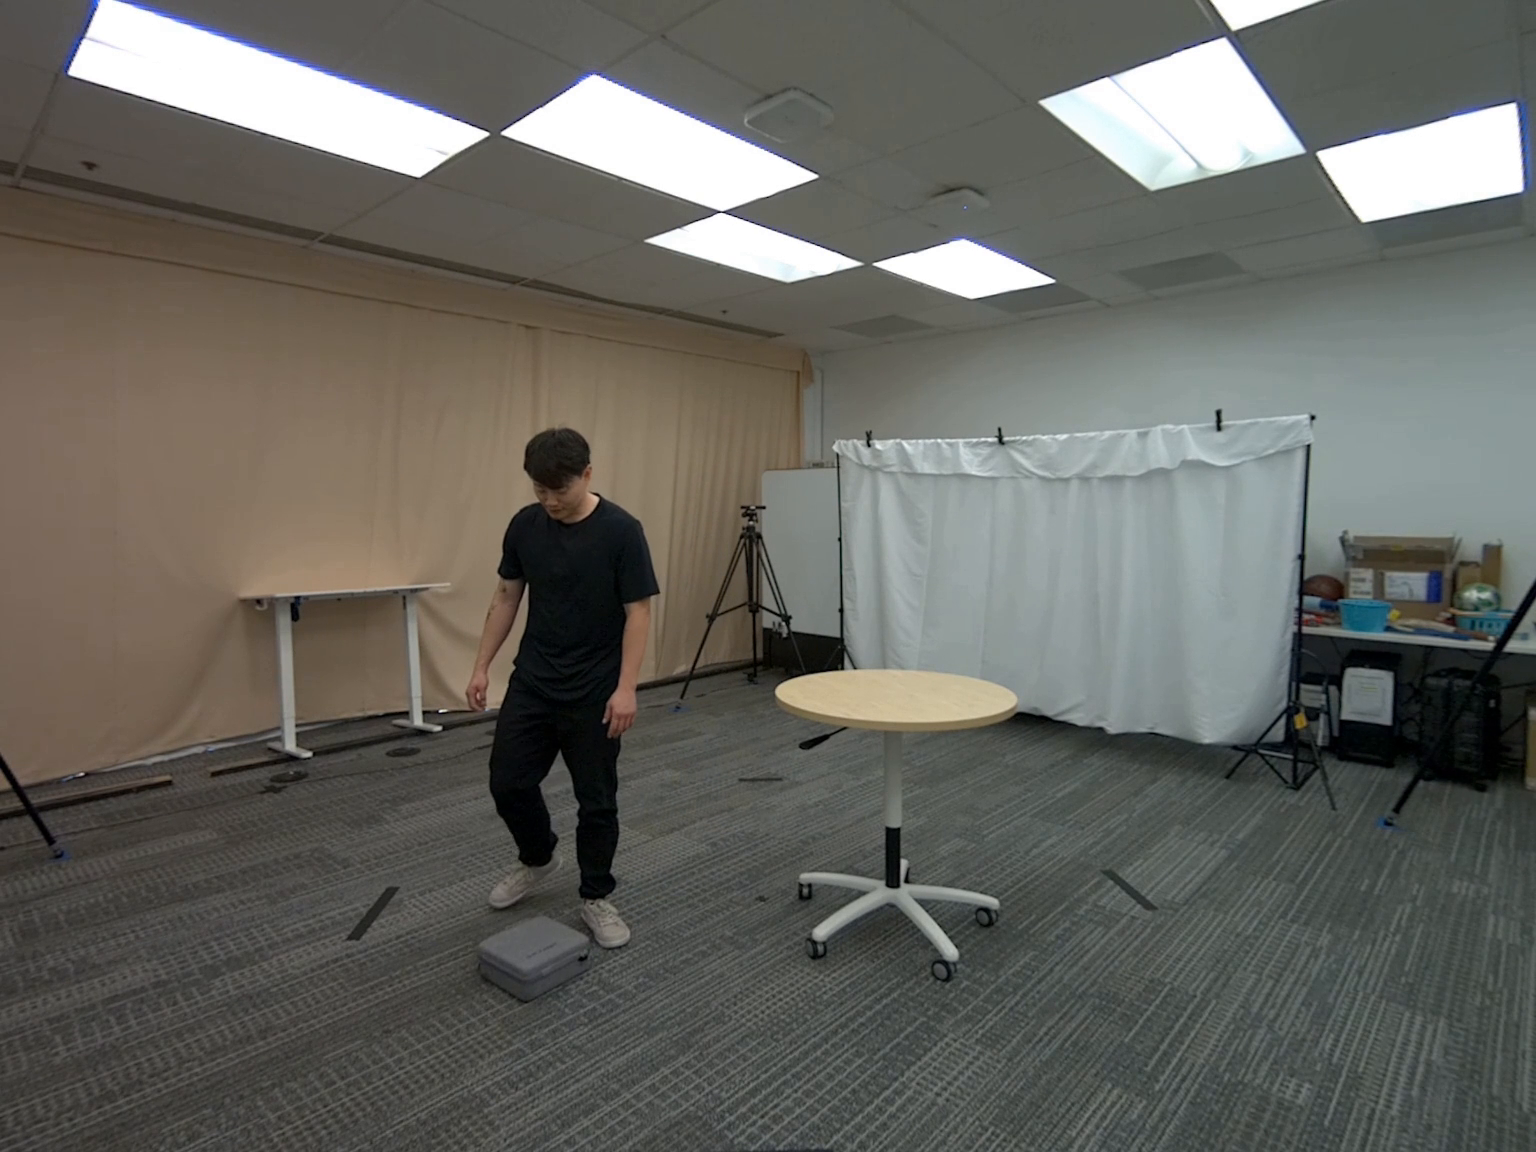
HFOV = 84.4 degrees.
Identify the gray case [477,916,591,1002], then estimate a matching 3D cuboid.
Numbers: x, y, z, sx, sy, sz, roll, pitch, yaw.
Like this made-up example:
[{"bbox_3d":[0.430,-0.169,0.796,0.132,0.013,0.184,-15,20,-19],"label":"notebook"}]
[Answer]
[{"bbox_3d":[-0.699,1.131,2.518,0.269,0.104,0.249,2,6,38],"label":"gray case"}]
